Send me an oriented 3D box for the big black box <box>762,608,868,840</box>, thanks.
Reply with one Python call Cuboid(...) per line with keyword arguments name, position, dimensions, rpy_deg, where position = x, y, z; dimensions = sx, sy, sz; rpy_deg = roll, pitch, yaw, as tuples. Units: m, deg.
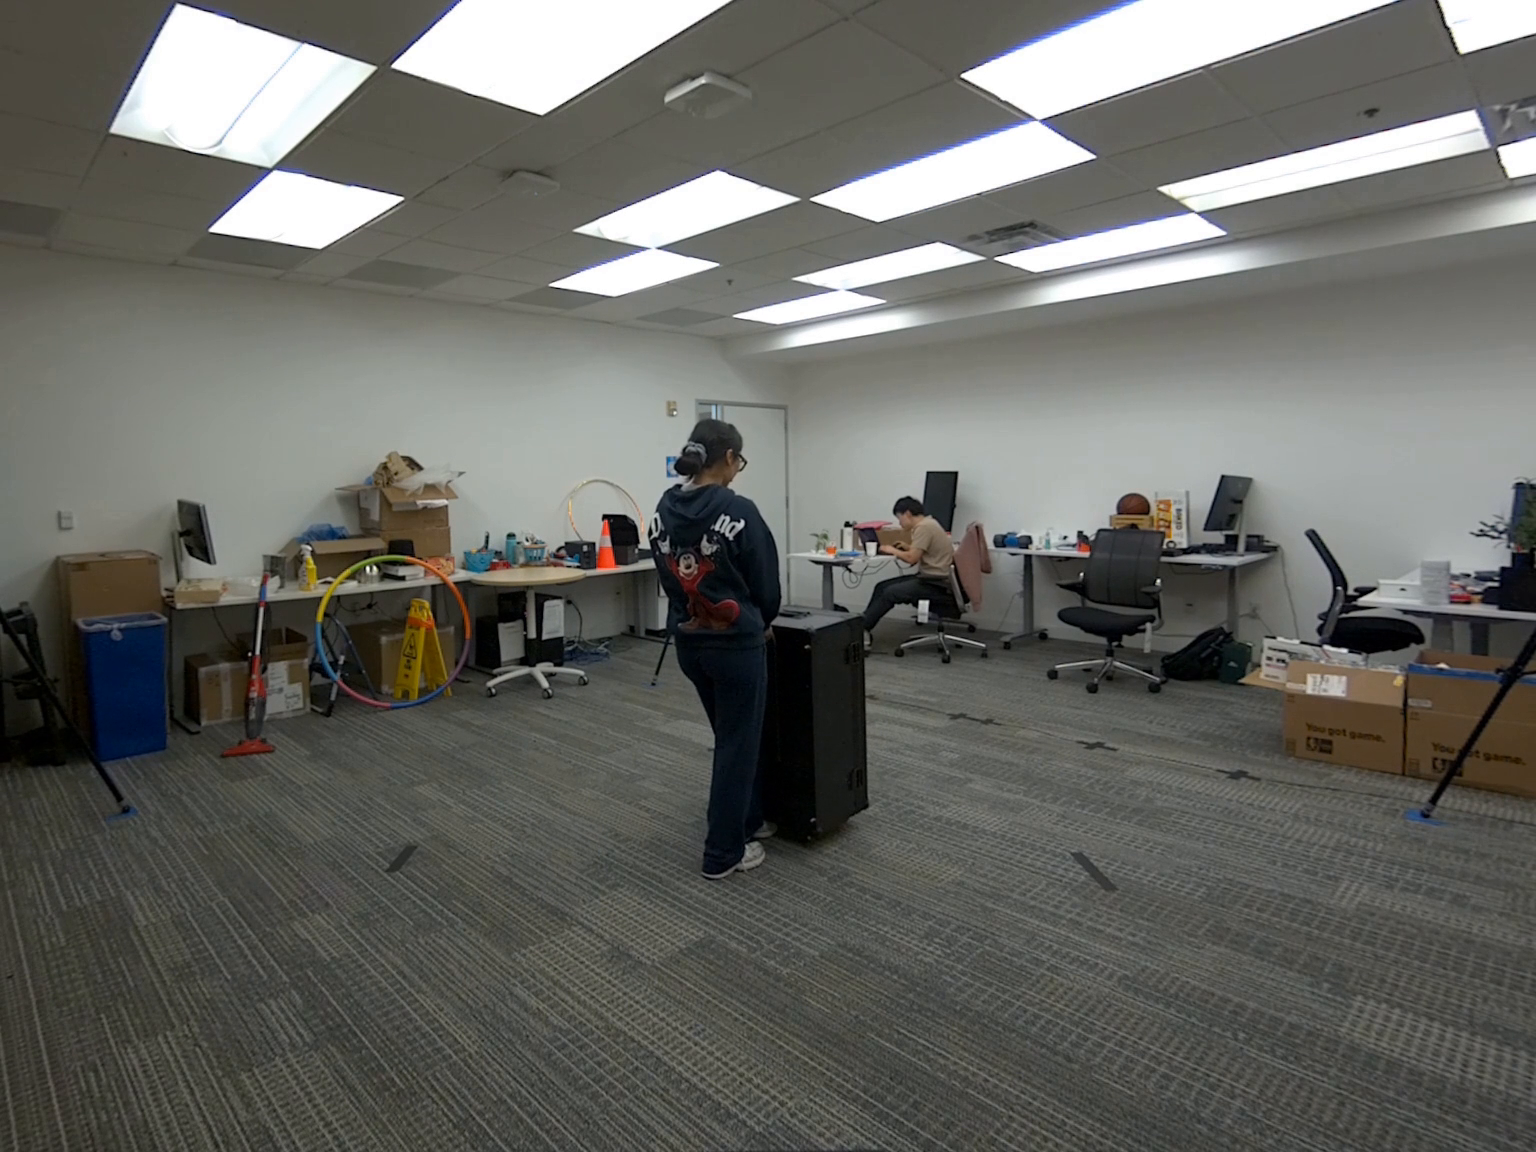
Cuboid(name="big black box", position=(0.096, 0.581, 3.410), dimensions=(0.537, 0.856, 0.387), rpy_deg=(3, 8, 41))
